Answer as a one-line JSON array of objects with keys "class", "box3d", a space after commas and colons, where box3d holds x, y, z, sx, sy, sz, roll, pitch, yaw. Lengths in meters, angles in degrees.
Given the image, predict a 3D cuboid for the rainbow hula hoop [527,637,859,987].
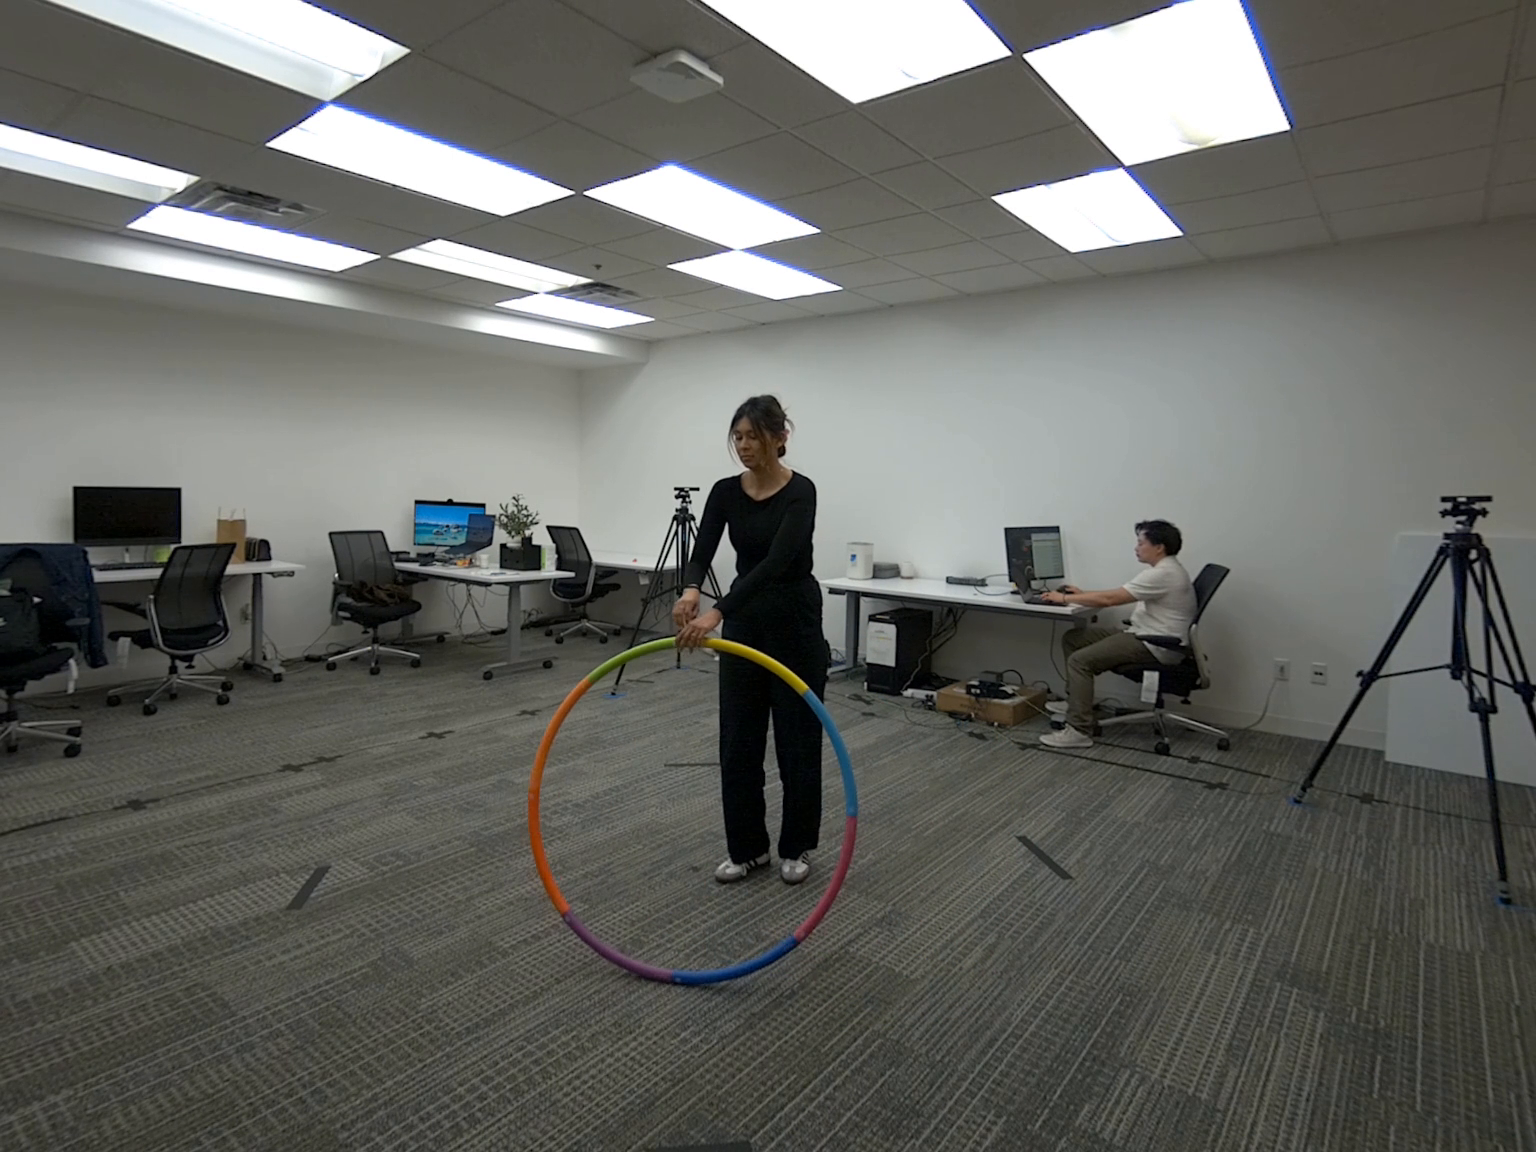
[{"class": "rainbow hula hoop", "box3d": [-0.251, 0.659, 2.498, 0.992, 0.992, 0.034, 1, -16, 12]}]
